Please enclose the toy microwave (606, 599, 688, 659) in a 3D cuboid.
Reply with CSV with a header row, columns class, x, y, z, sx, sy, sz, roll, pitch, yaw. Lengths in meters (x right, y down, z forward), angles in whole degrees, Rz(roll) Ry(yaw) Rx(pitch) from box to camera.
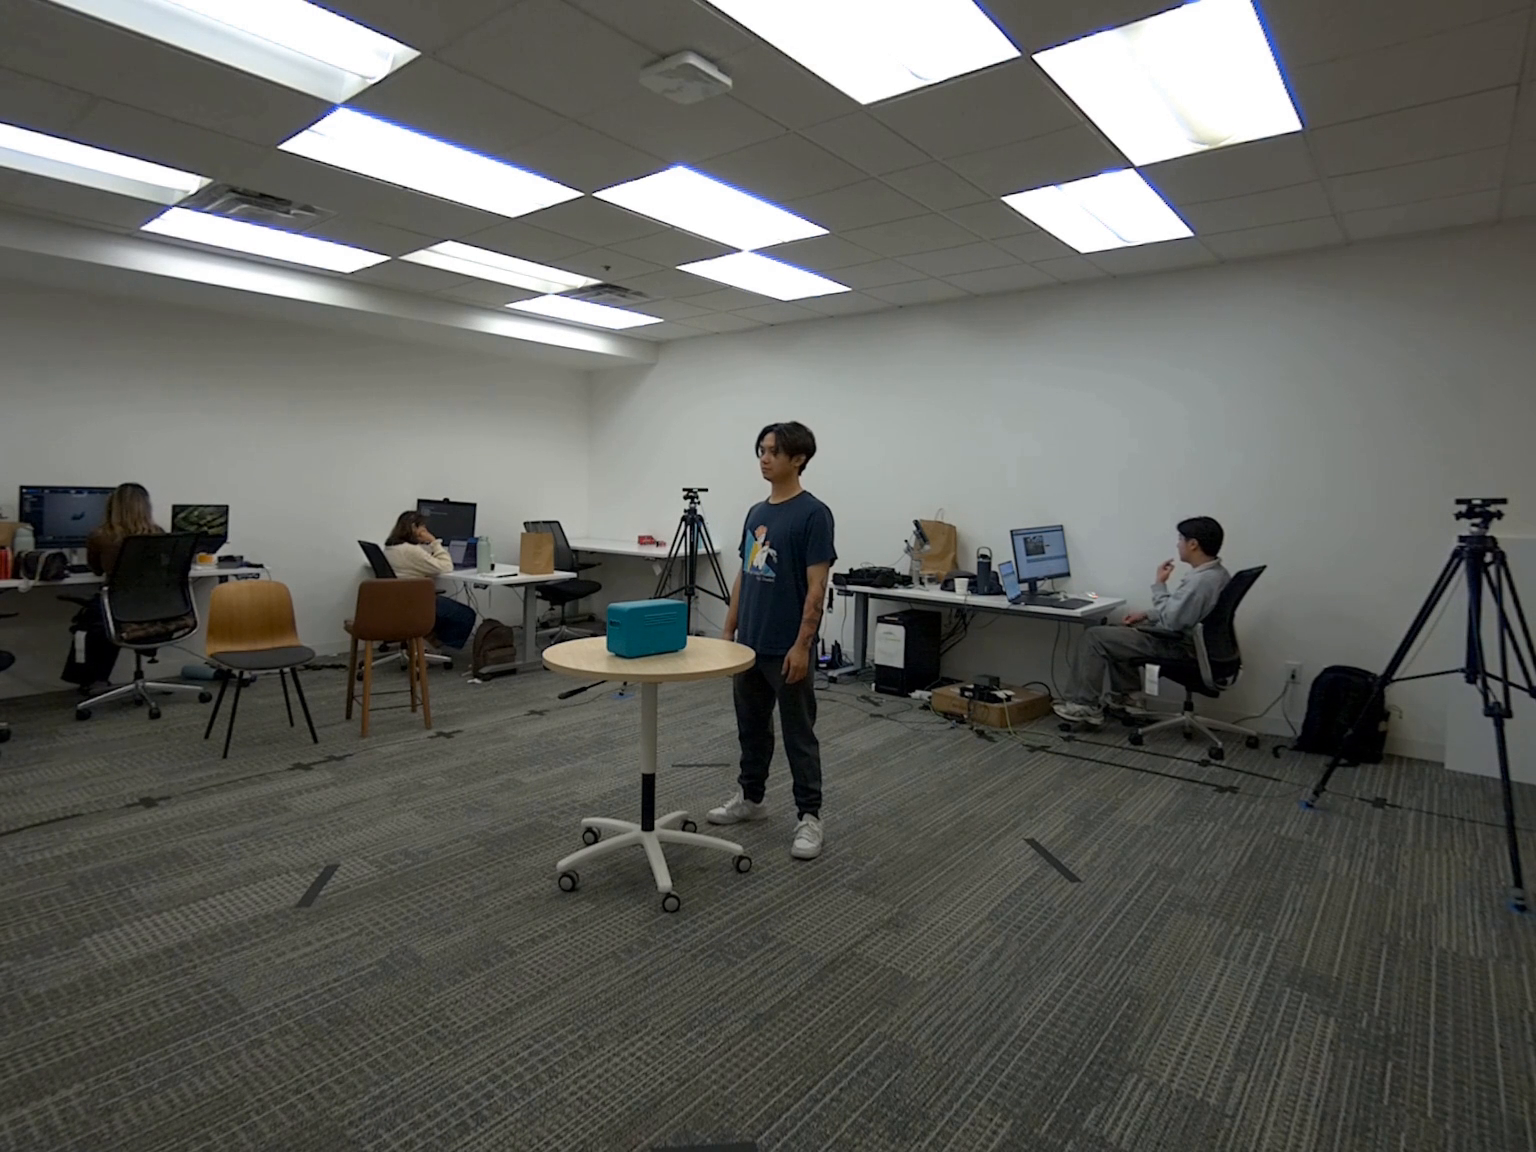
class,x,y,z,sx,sy,sz,roll,pitch,yaw
toy microwave,-0.450,0.183,3.068,0.277,0.183,0.157,-4,6,-43
